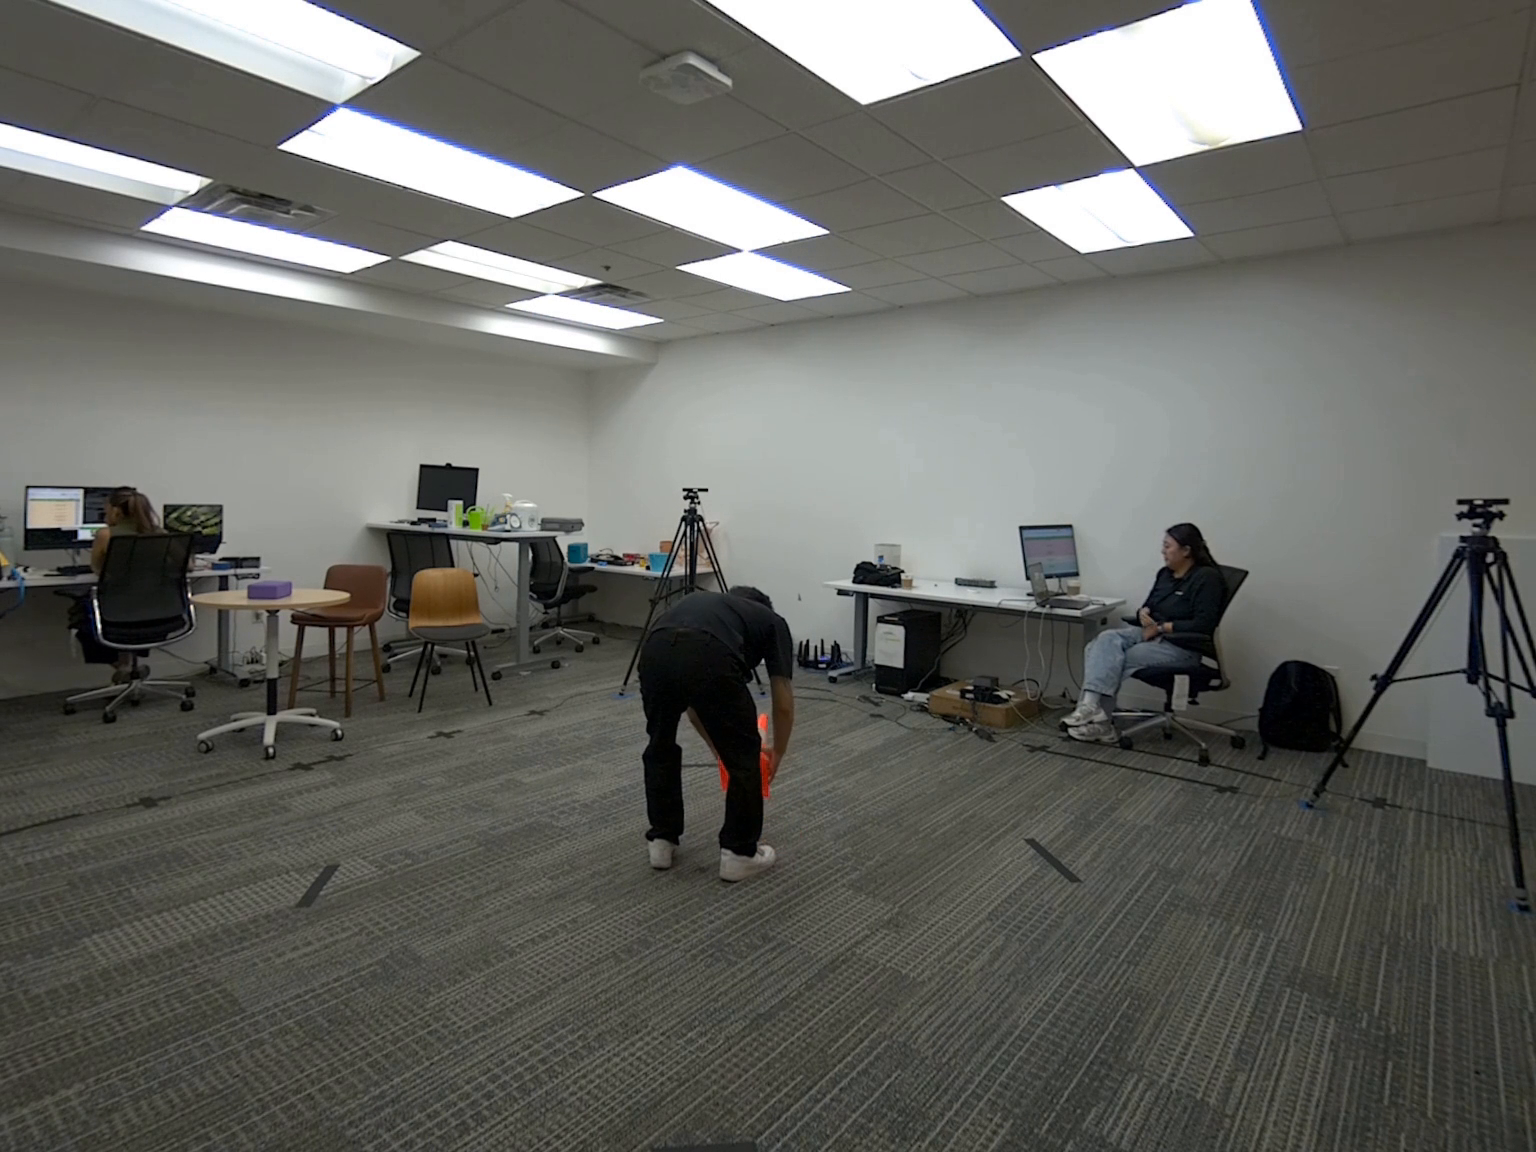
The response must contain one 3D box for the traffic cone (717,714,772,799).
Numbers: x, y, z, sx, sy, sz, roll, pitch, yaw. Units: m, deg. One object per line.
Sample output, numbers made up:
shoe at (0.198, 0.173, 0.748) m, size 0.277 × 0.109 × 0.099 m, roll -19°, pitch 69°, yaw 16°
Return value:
traffic cone at (-0.064, 0.695, 3.500) m, size 0.207 × 0.200 × 0.386 m, roll 2°, pitch 28°, yaw 17°
